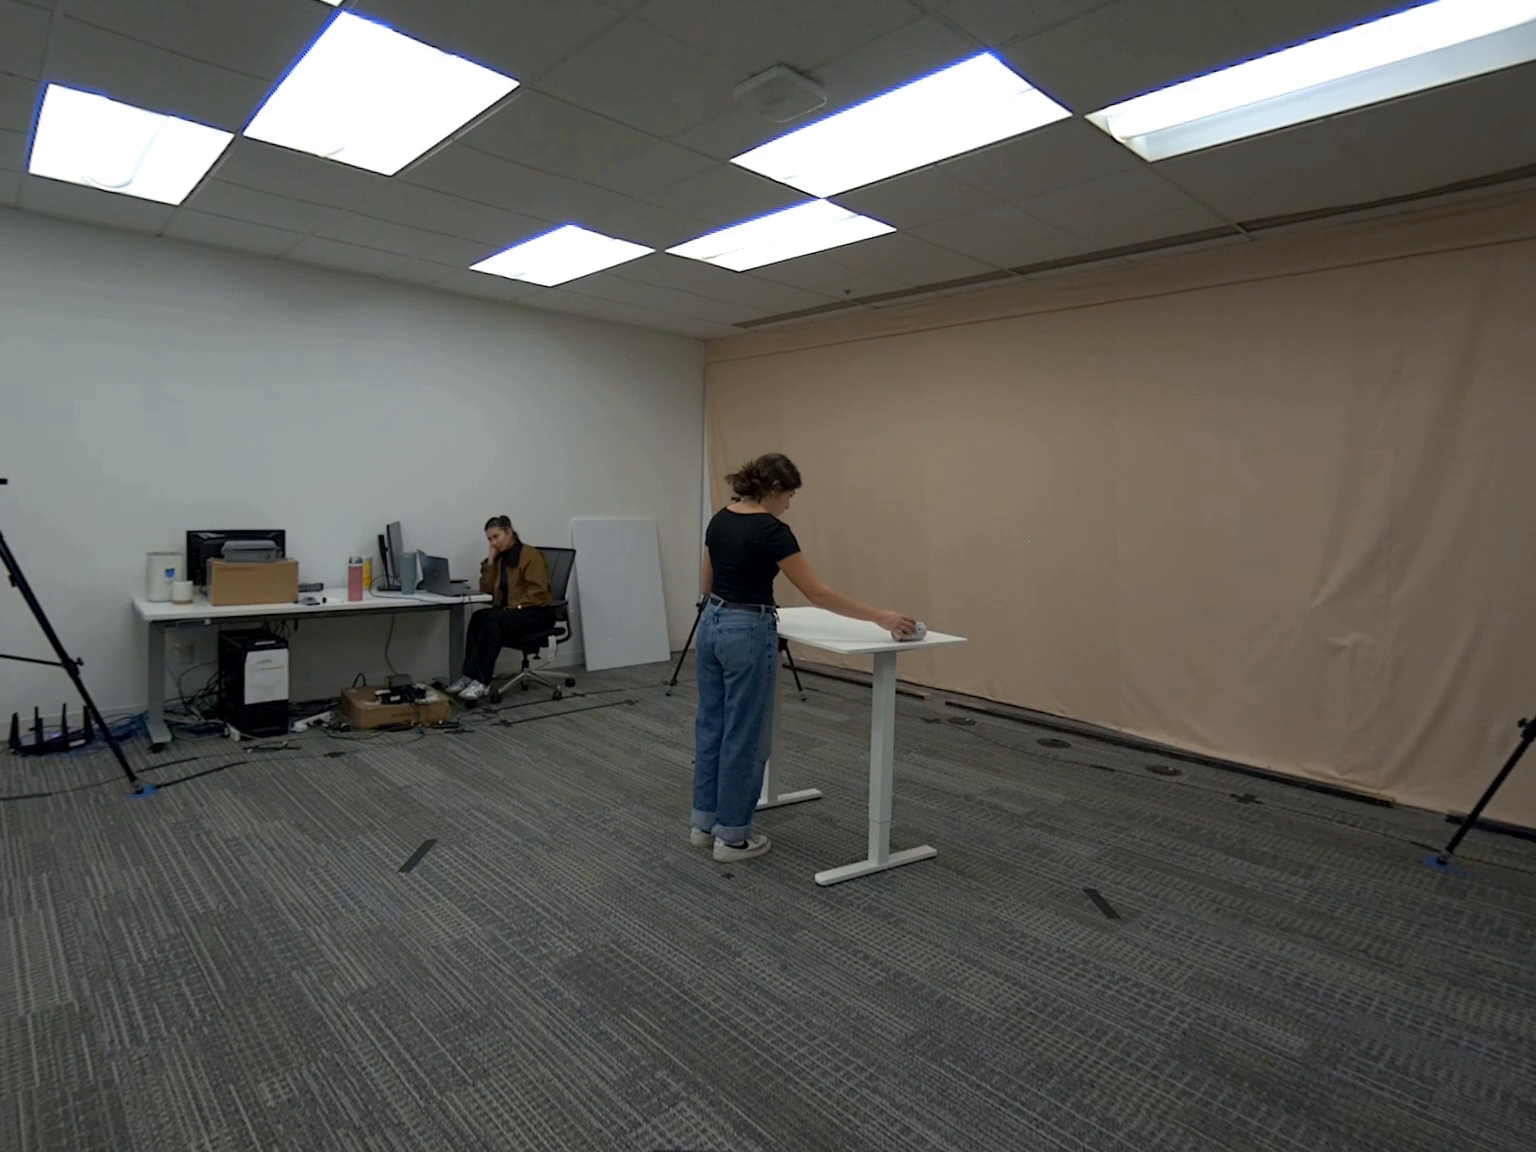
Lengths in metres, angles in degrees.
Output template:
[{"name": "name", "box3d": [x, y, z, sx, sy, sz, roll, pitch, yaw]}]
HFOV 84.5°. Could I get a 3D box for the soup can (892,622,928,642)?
[{"name": "soup can", "box3d": [0.518, 0.206, 3.133, 0.120, 0.067, 0.068, -5, 6, -16]}]
